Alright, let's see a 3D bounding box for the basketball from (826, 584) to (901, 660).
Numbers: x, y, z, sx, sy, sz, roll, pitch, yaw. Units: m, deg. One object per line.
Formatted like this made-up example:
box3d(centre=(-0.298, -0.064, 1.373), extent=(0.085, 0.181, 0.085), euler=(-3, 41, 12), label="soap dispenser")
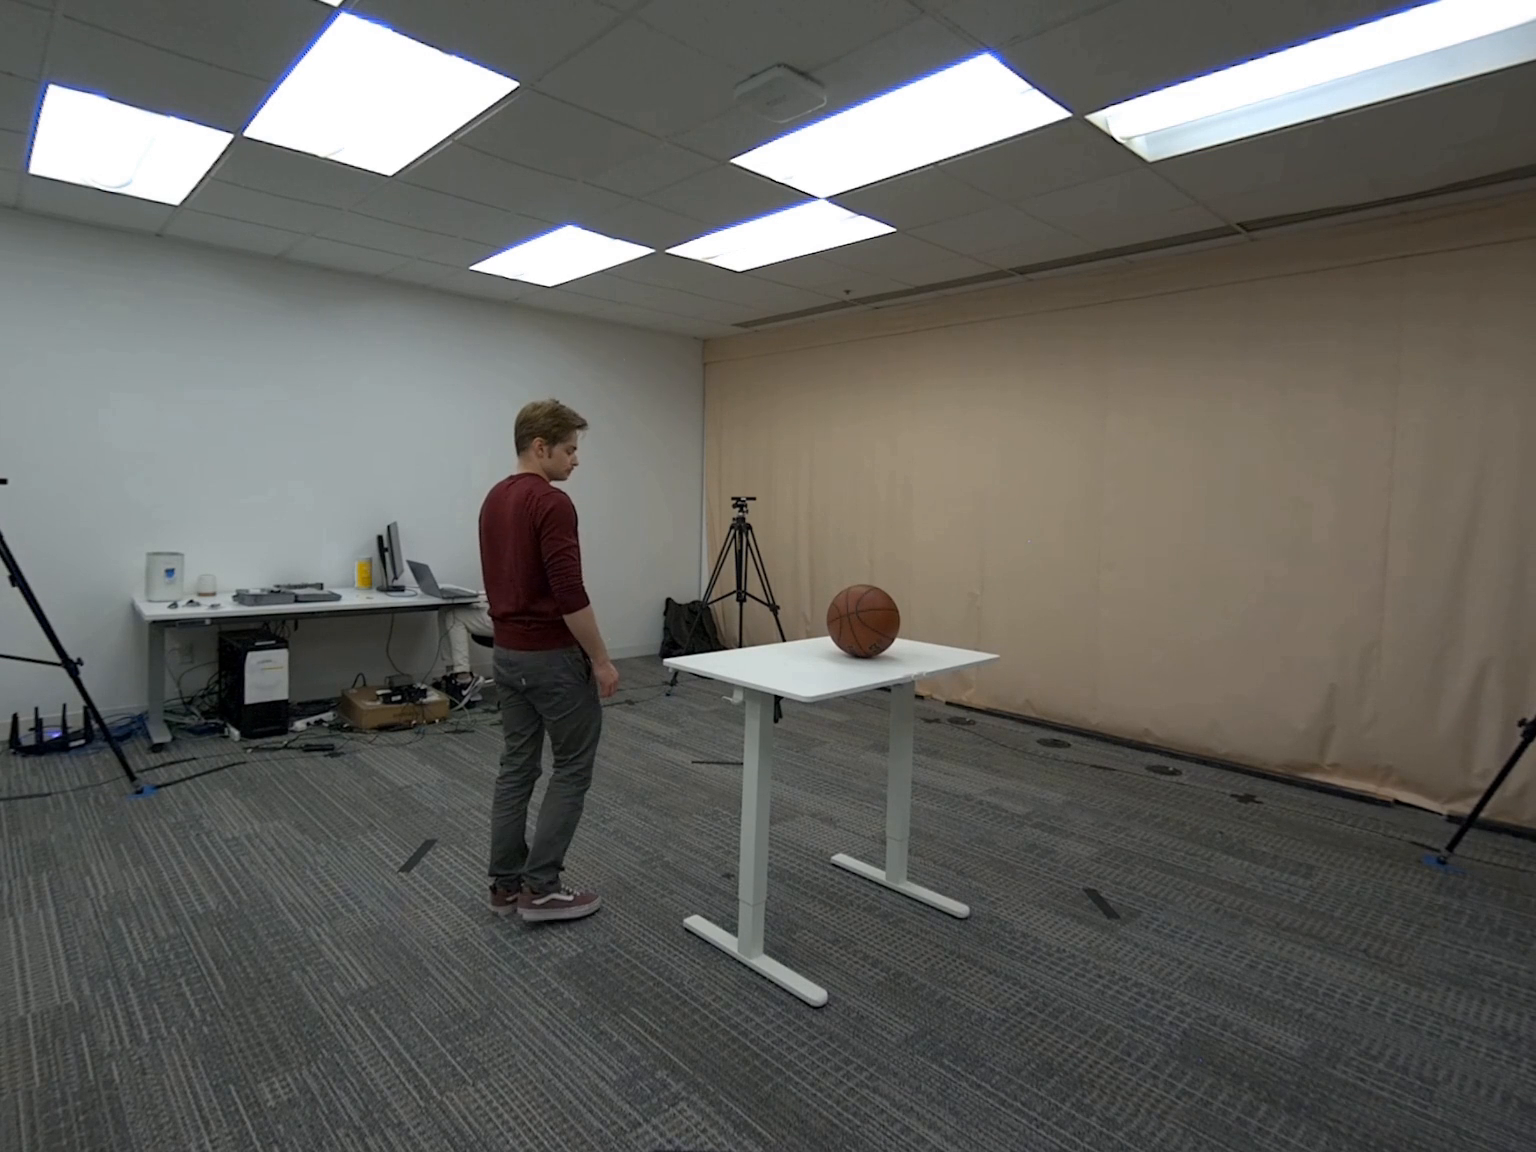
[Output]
box3d(centre=(0.299, 0.145, 2.764), extent=(0.236, 0.235, 0.237), euler=(1, 4, -1), label="basketball")
